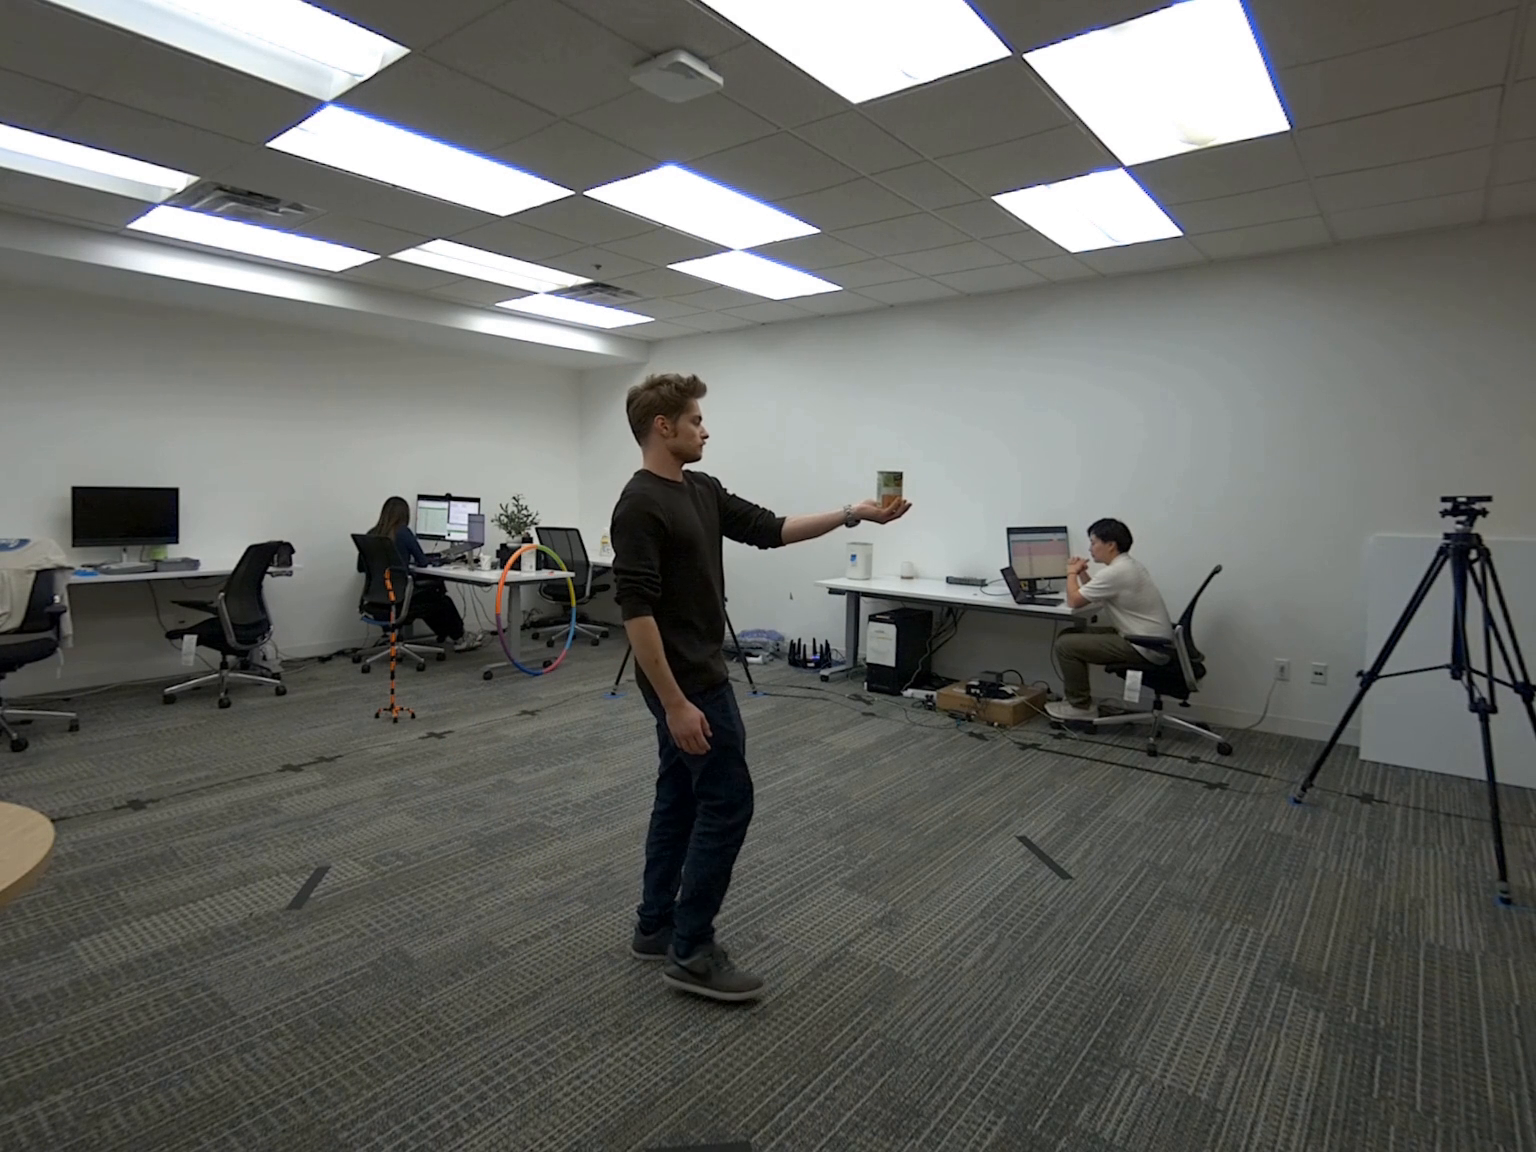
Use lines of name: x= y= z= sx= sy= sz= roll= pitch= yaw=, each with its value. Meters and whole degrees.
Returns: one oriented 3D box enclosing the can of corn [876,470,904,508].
can of corn: x=0.346 y=-0.247 z=2.457 sx=0.074 sy=0.110 sz=0.075 roll=0 pitch=7 yaw=-2
